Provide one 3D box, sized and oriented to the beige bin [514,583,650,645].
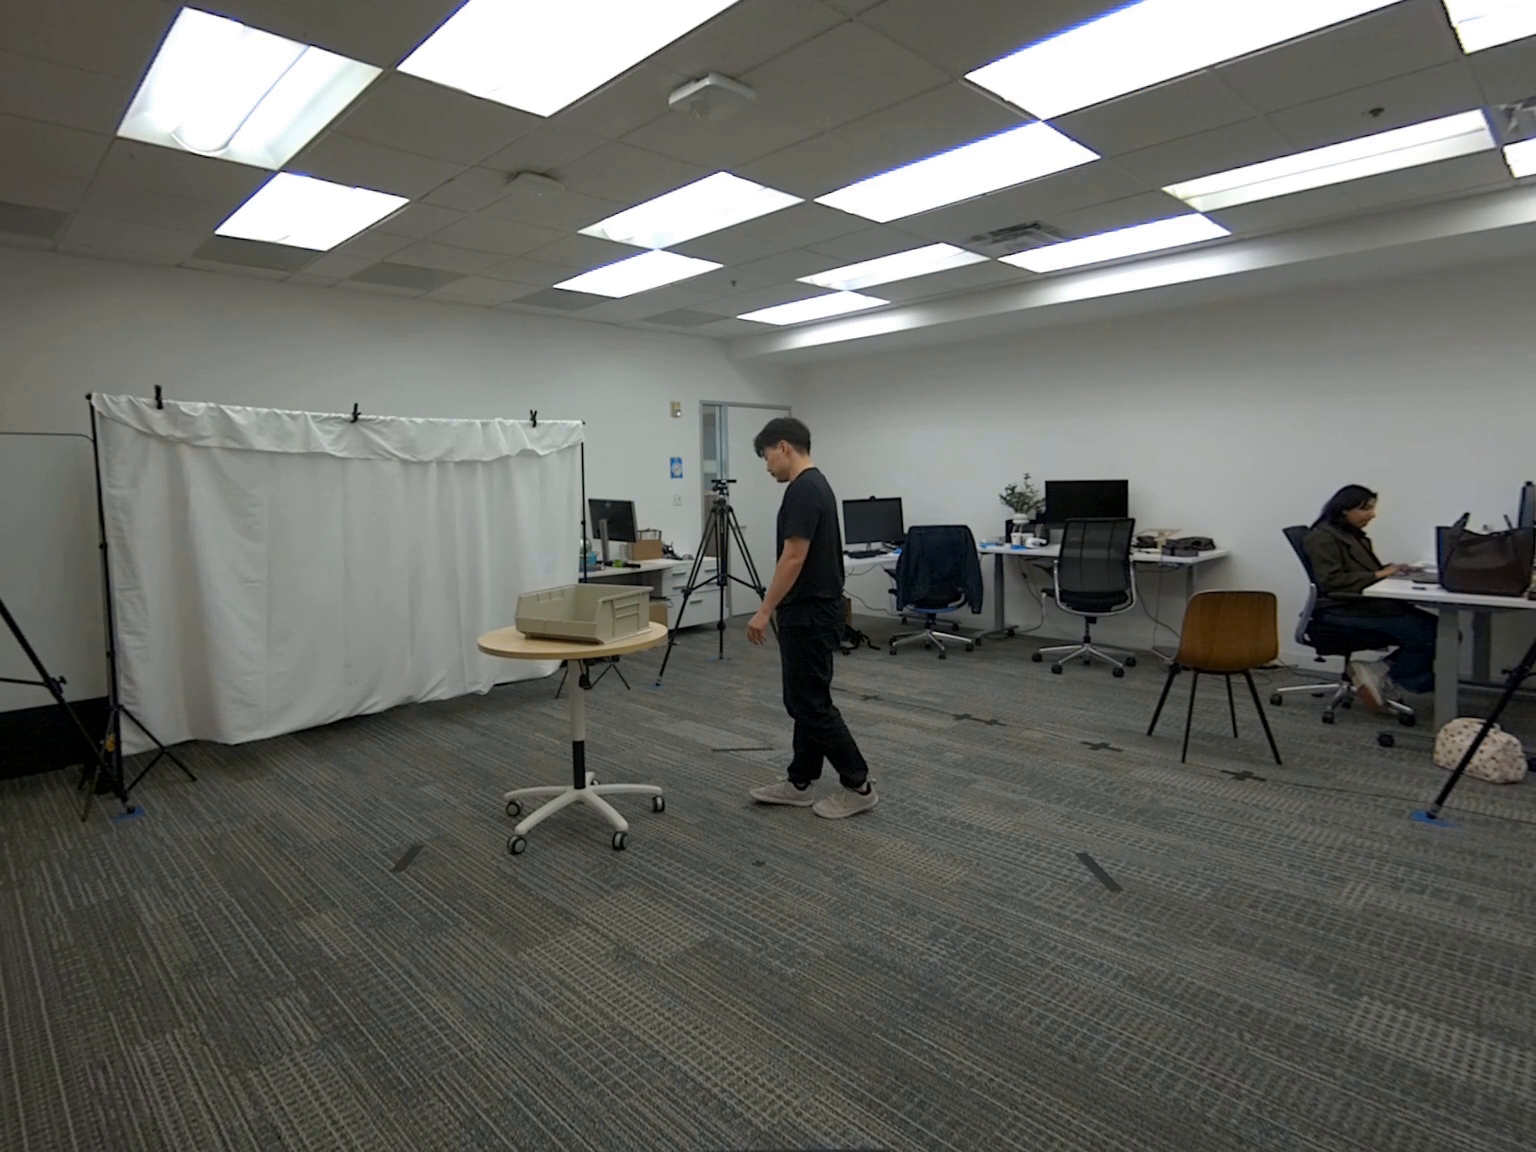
[{"bbox_3d":[-0.736,0.152,3.449,0.433,0.188,0.369,1,4,29],"label":"beige bin"}]
